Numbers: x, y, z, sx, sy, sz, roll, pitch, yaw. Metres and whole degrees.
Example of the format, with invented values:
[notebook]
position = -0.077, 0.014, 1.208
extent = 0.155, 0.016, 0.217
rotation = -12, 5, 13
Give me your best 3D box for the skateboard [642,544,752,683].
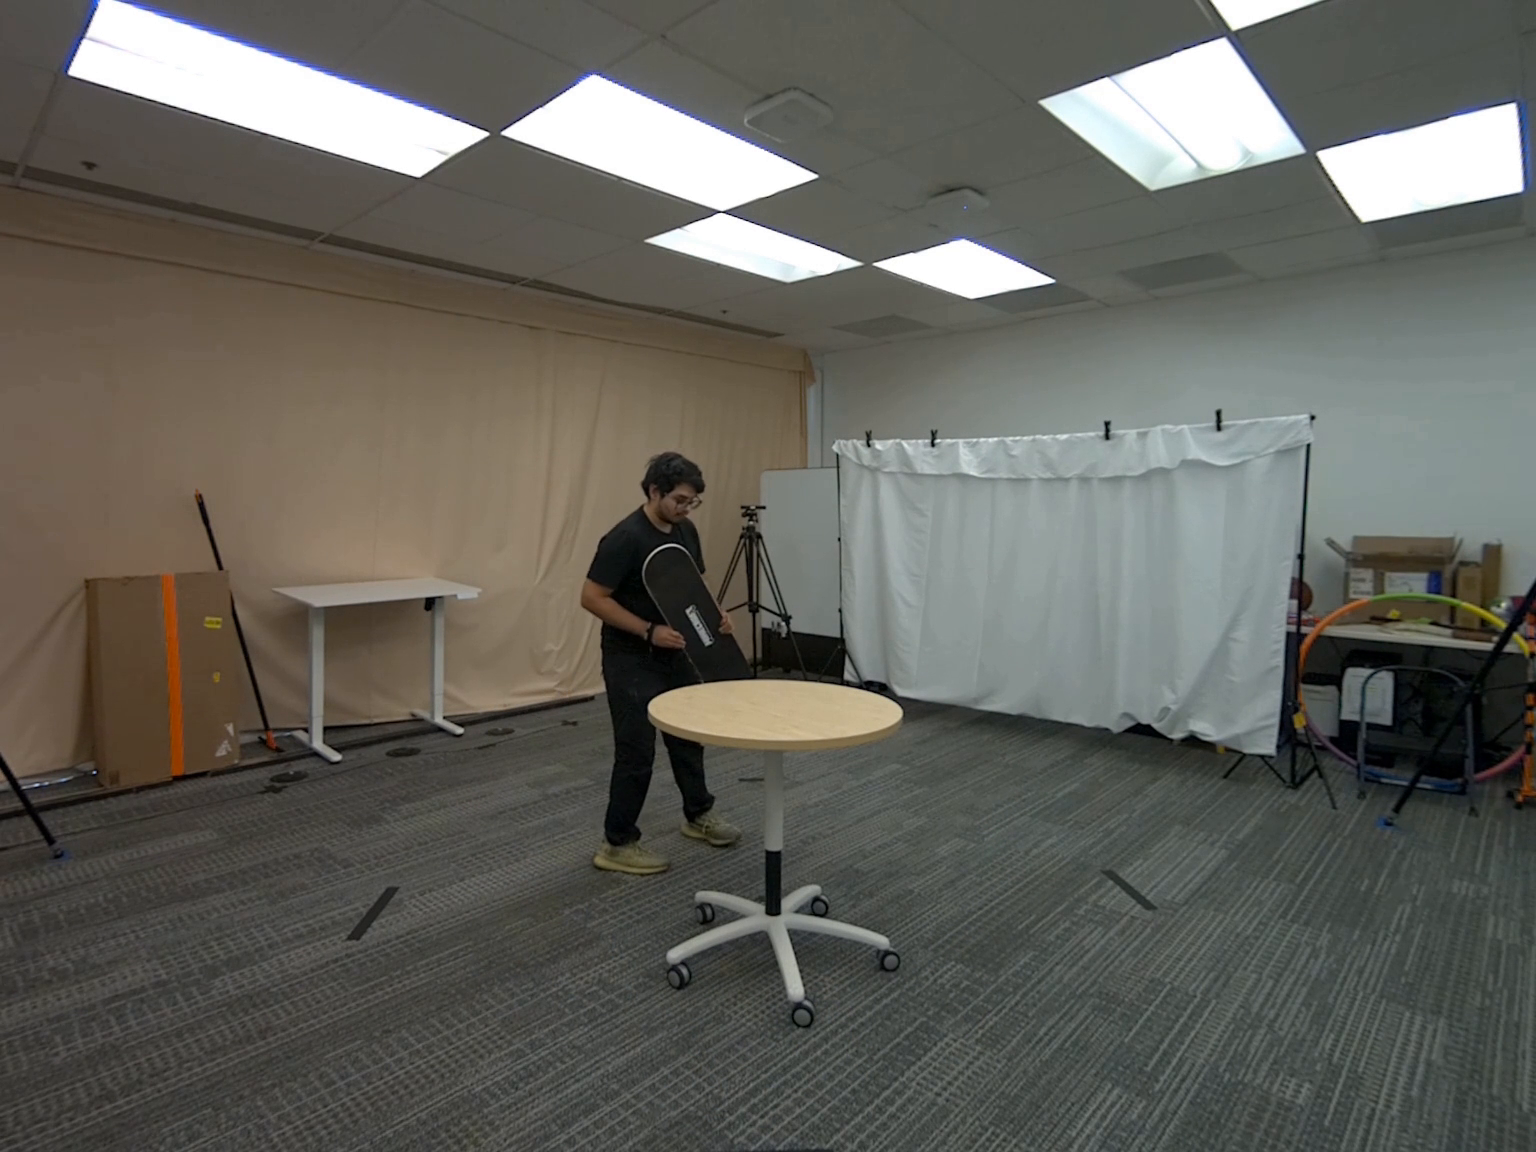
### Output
[skateboard]
position = -0.268, 0.174, 3.172
extent = 0.192, 0.763, 0.114
rotation = -36, 35, -13
